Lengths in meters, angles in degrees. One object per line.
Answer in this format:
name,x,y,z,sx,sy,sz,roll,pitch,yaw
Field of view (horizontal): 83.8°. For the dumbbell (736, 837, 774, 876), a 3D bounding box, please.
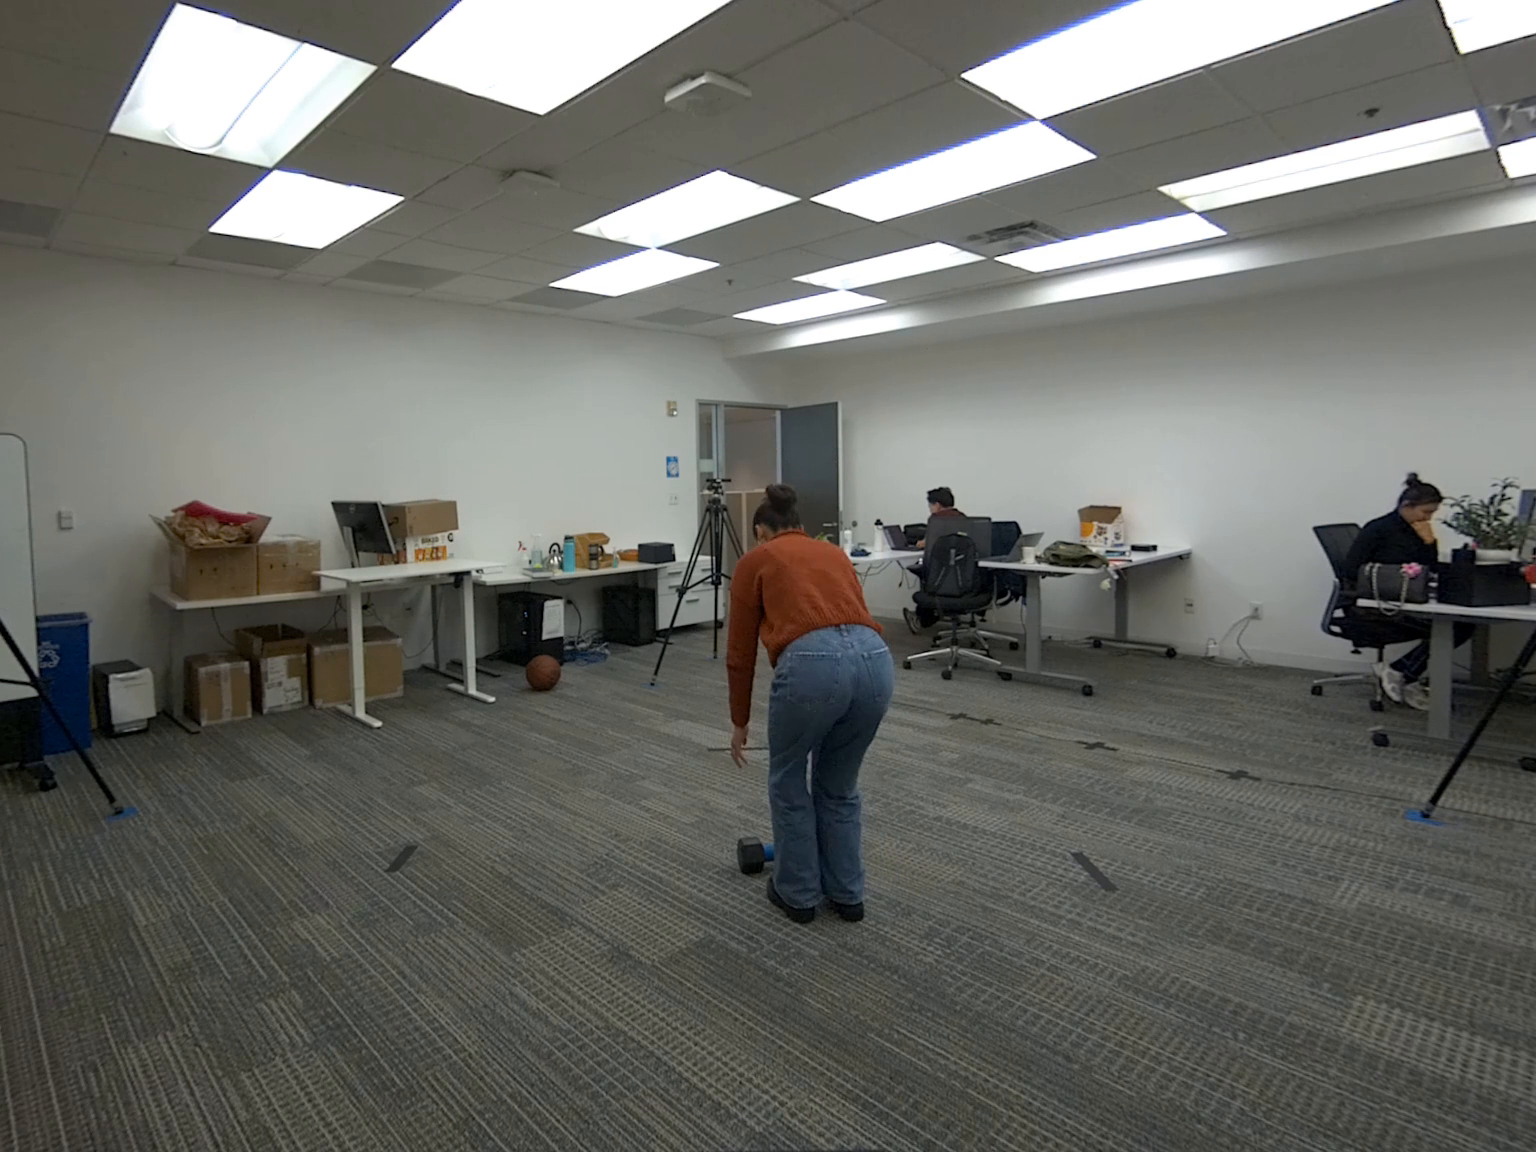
dumbbell,0.043,0.992,3.070,0.290,0.120,0.112,-2,36,-11
